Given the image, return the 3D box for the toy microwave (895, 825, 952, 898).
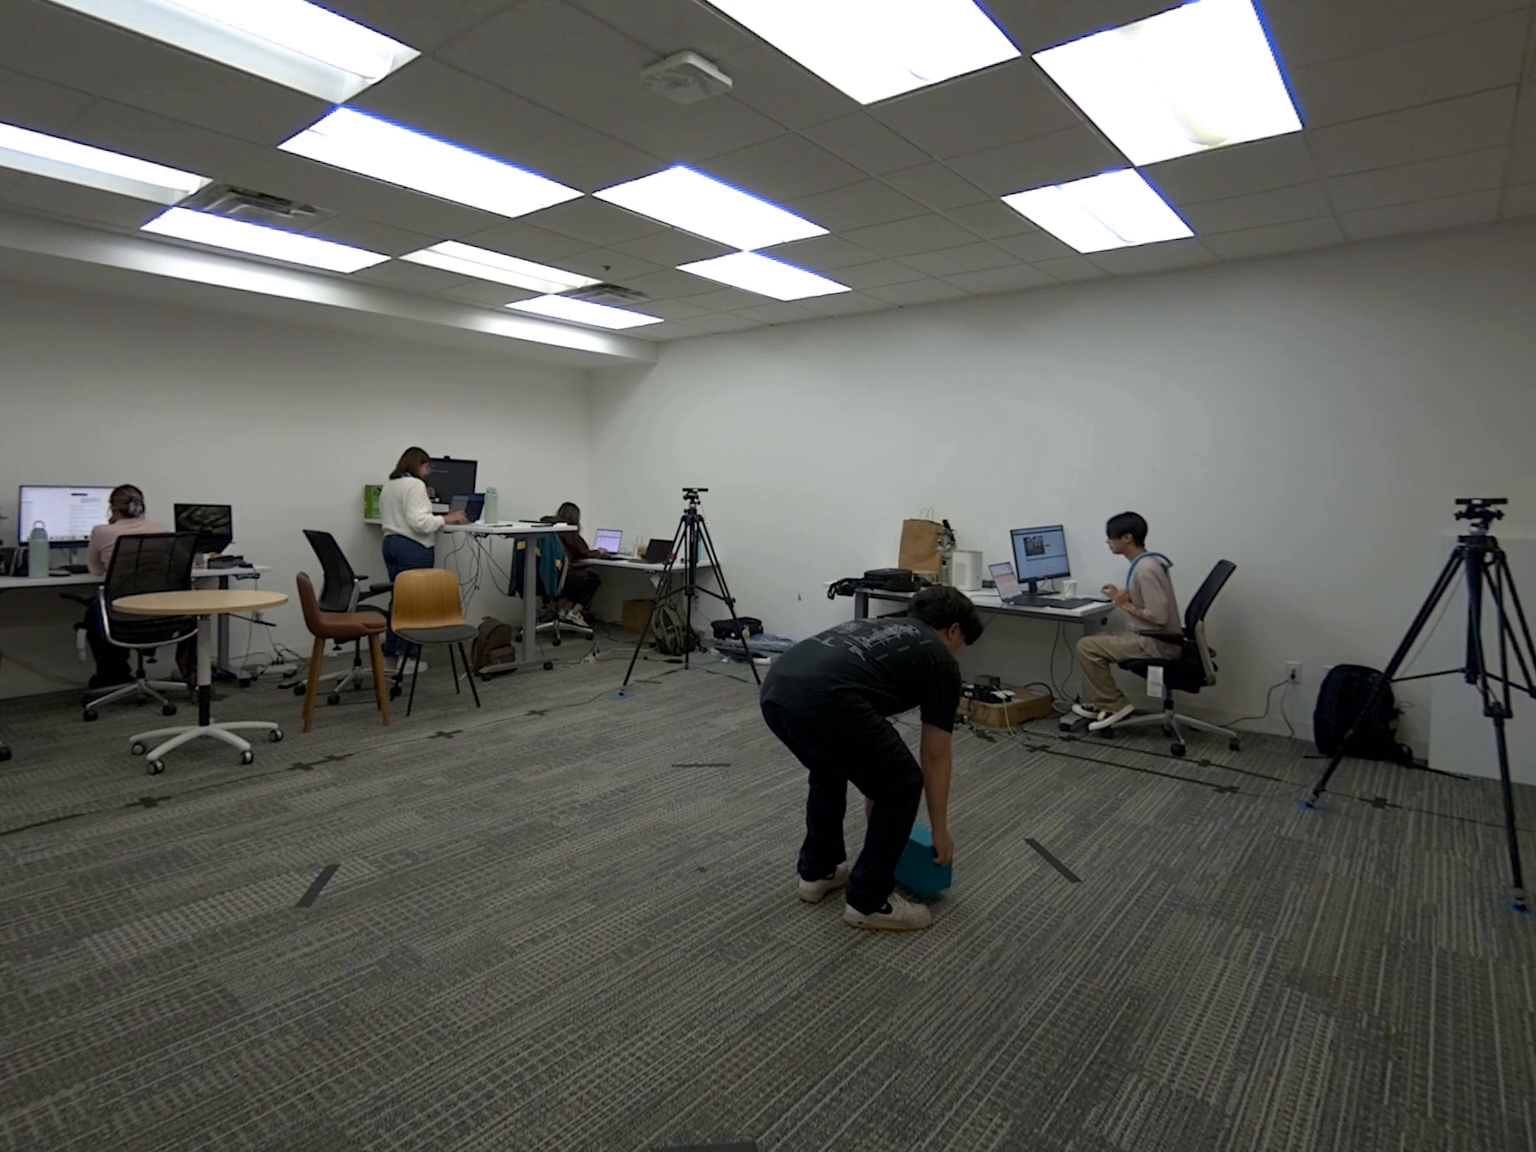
[{"bbox_3d":[0.501,0.976,3.001,0.148,0.183,0.296,-1,7,-36],"label":"toy microwave"}]
